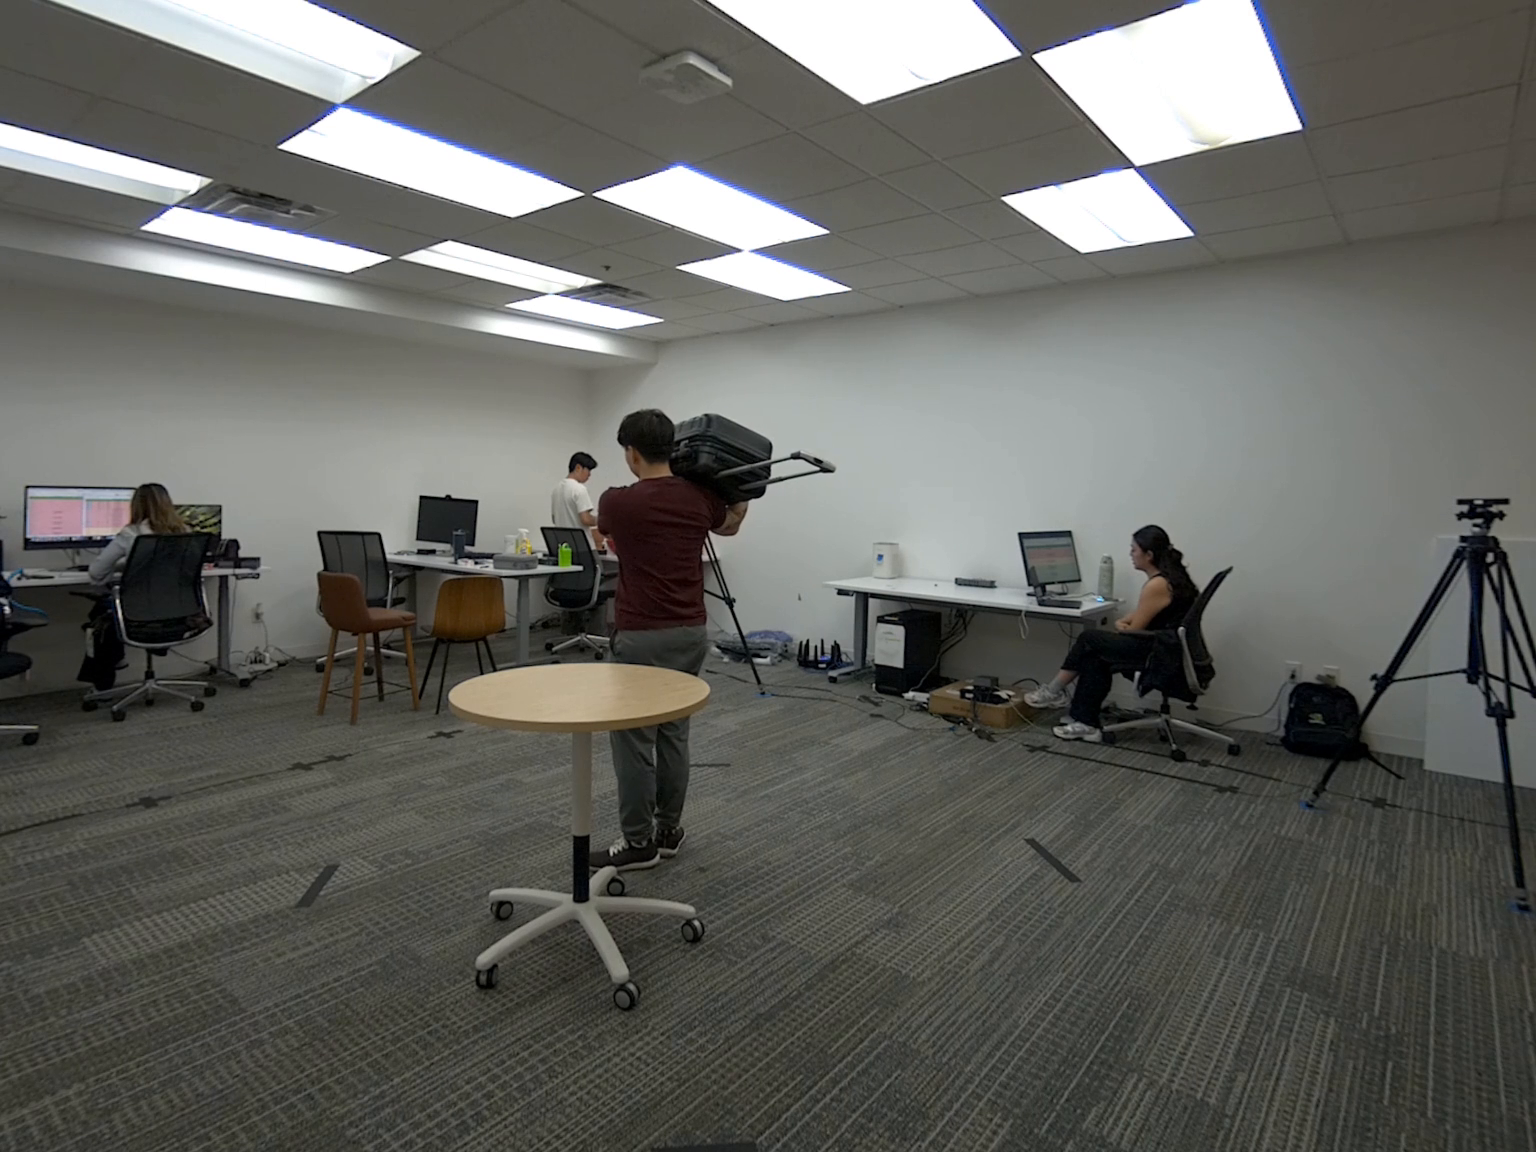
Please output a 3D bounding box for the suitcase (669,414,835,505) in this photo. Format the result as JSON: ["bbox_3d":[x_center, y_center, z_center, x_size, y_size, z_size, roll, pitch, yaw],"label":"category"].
[{"bbox_3d":[-0.143,-0.456,3.209,0.370,0.260,1.004,21,-17,-34],"label":"suitcase"}]
